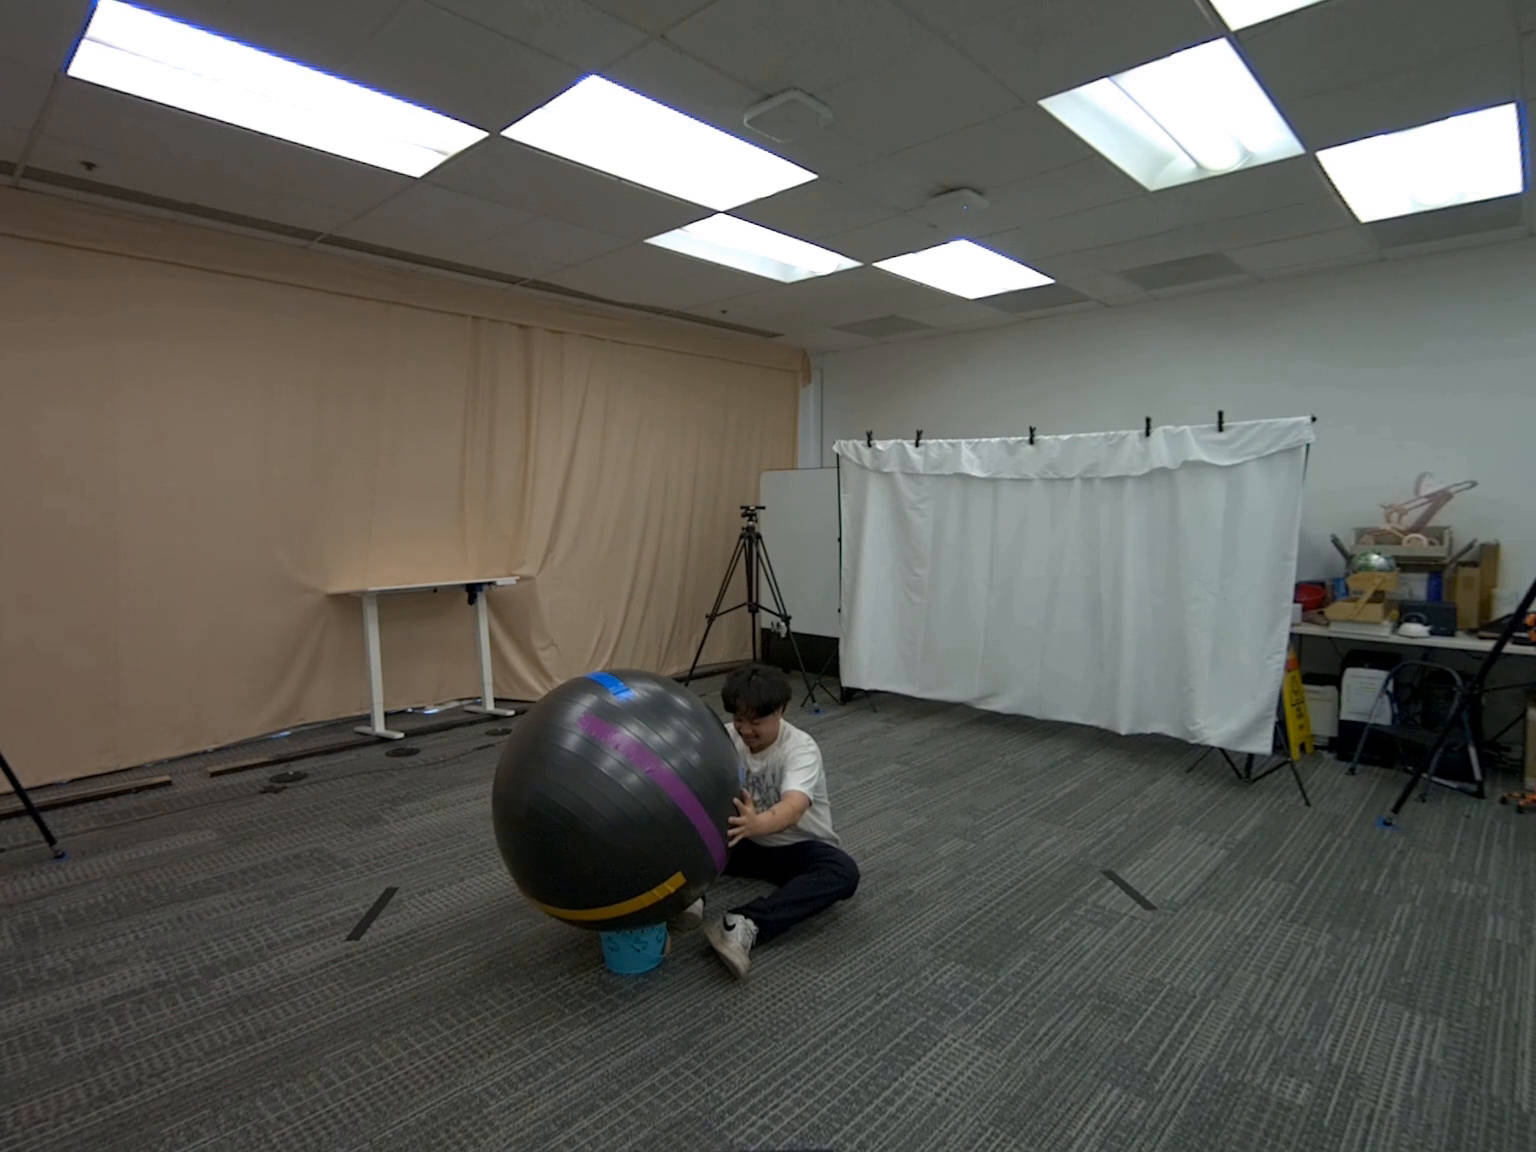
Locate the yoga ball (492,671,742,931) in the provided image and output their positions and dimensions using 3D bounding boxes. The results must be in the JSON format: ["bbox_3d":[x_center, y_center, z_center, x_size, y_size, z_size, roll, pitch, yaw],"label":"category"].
[{"bbox_3d":[-0.450,0.667,2.556,0.757,0.756,0.760,0,4,-2],"label":"yoga ball"}]
